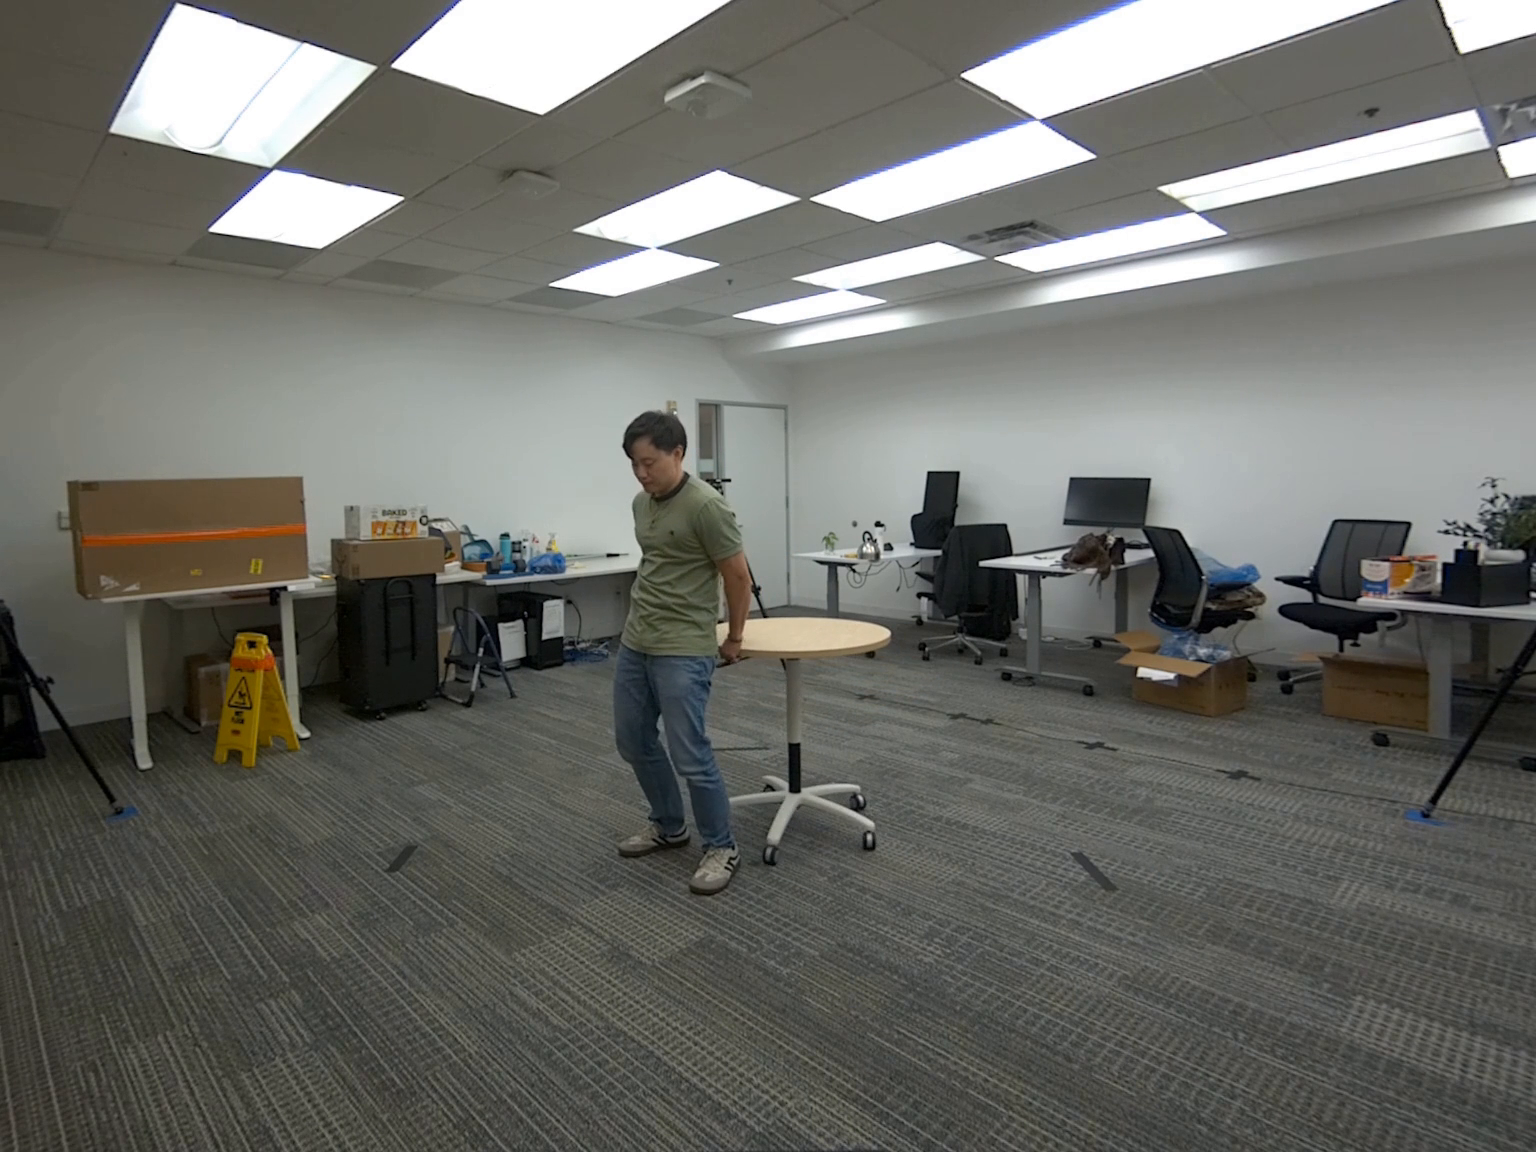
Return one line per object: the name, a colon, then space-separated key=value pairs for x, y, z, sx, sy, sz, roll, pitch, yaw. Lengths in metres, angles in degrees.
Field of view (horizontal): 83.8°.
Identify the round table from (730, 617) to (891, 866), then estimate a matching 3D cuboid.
round table: x=0.105 y=0.616 z=3.408 sx=0.763 sy=0.791 sz=0.767 roll=-1 pitch=4 yaw=-2
